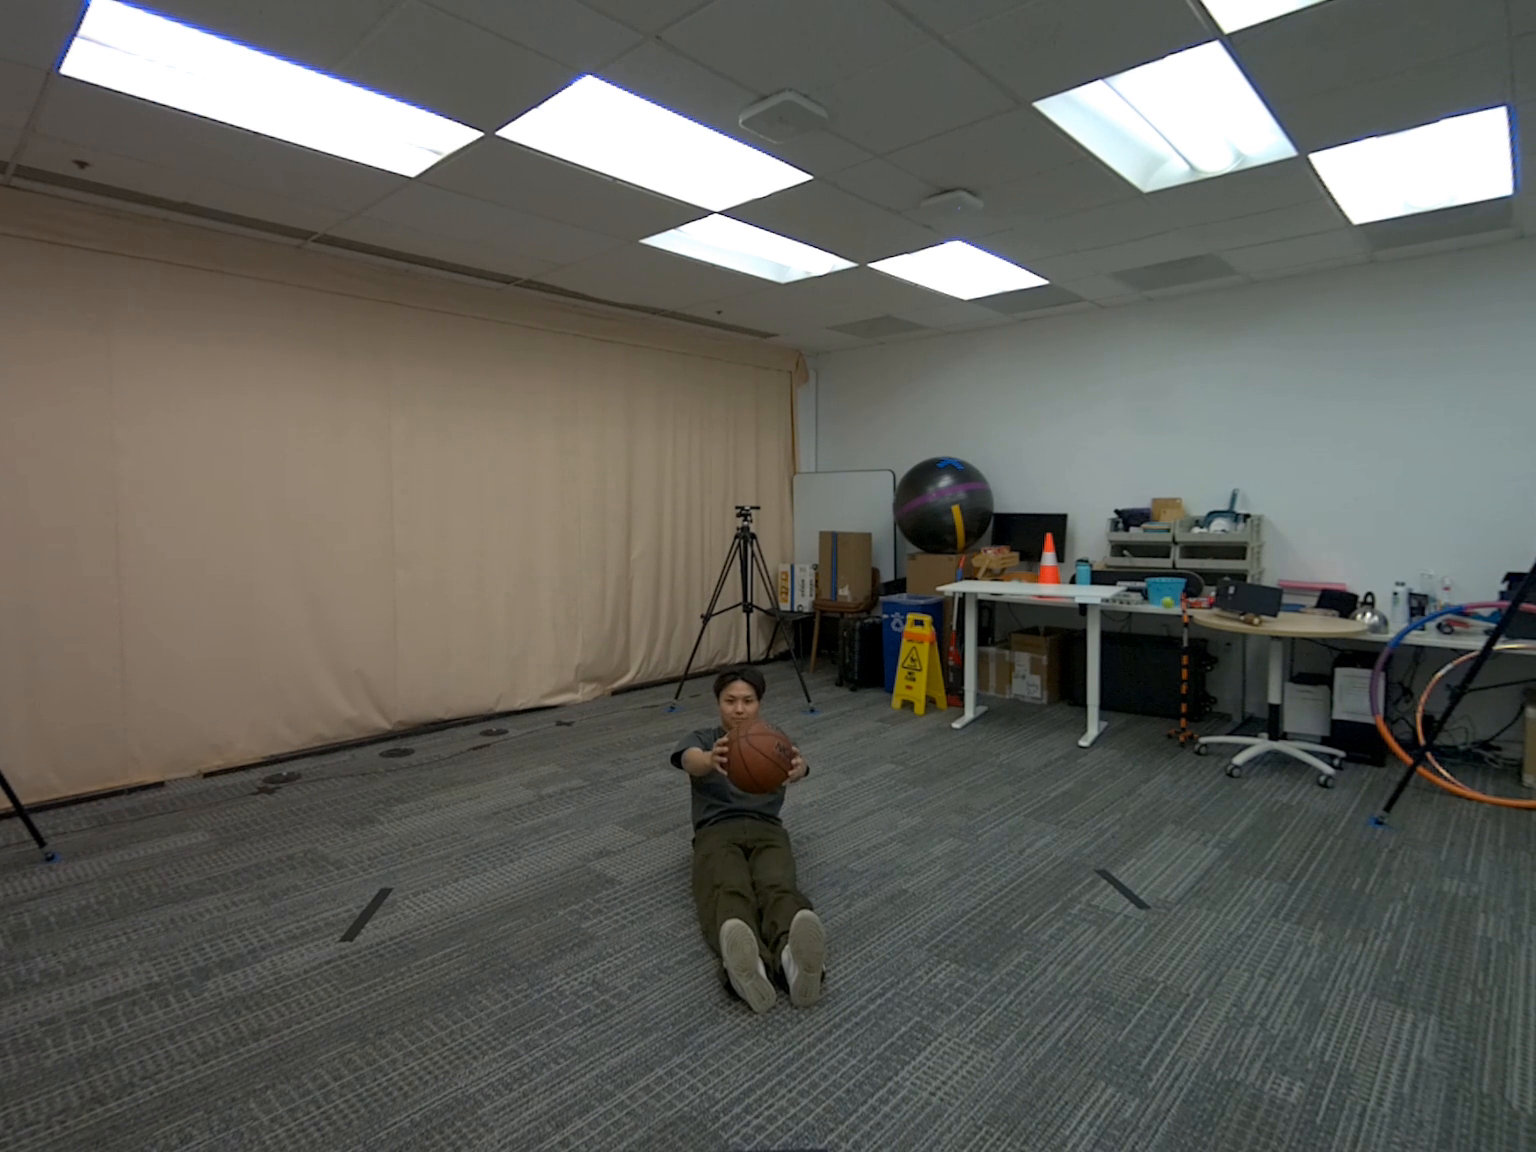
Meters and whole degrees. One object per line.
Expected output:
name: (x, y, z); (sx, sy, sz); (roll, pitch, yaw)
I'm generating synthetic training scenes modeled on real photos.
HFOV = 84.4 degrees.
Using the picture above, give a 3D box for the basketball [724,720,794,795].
basketball: (-0.033, 0.596, 2.766); (0.236, 0.235, 0.237); (0, 4, -2)
